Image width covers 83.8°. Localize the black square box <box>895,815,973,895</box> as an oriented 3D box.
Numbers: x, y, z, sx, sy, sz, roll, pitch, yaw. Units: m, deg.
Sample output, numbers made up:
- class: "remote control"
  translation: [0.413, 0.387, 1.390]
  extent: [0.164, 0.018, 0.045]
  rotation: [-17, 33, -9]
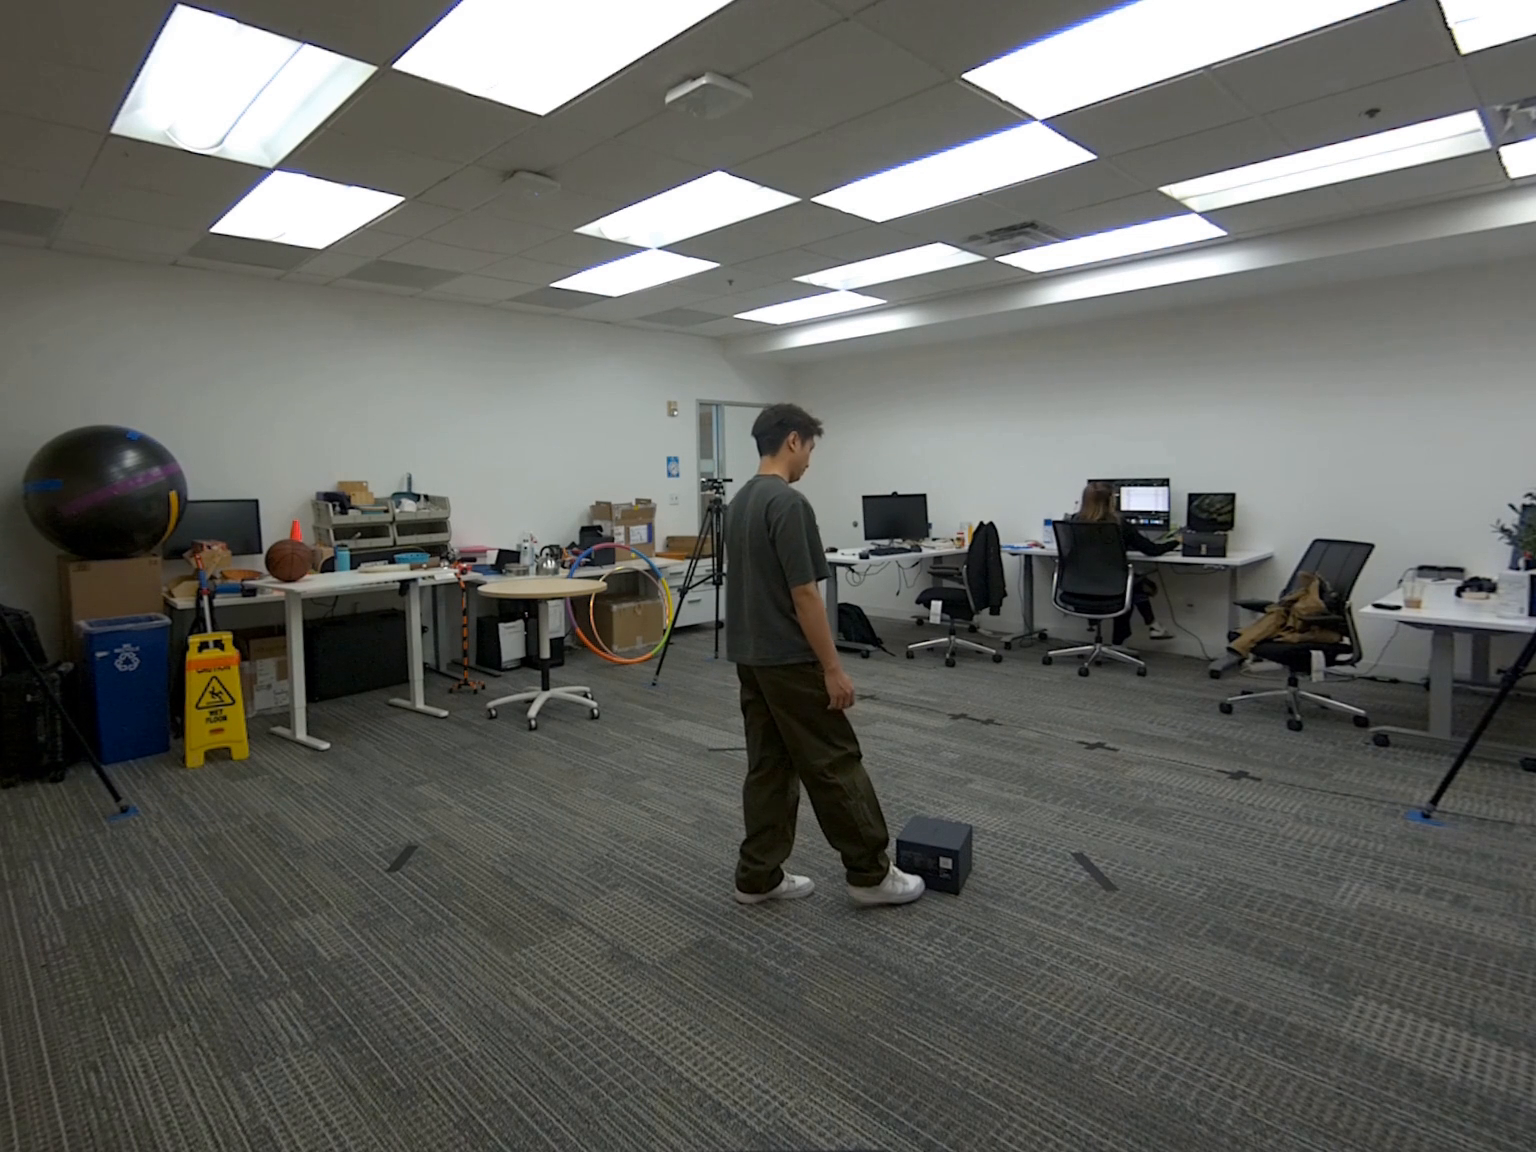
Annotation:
- class: "black square box"
  translation: [0.584, 0.961, 2.981]
  extent: [0.222, 0.155, 0.224]
  rotation: [2, 7, 25]
